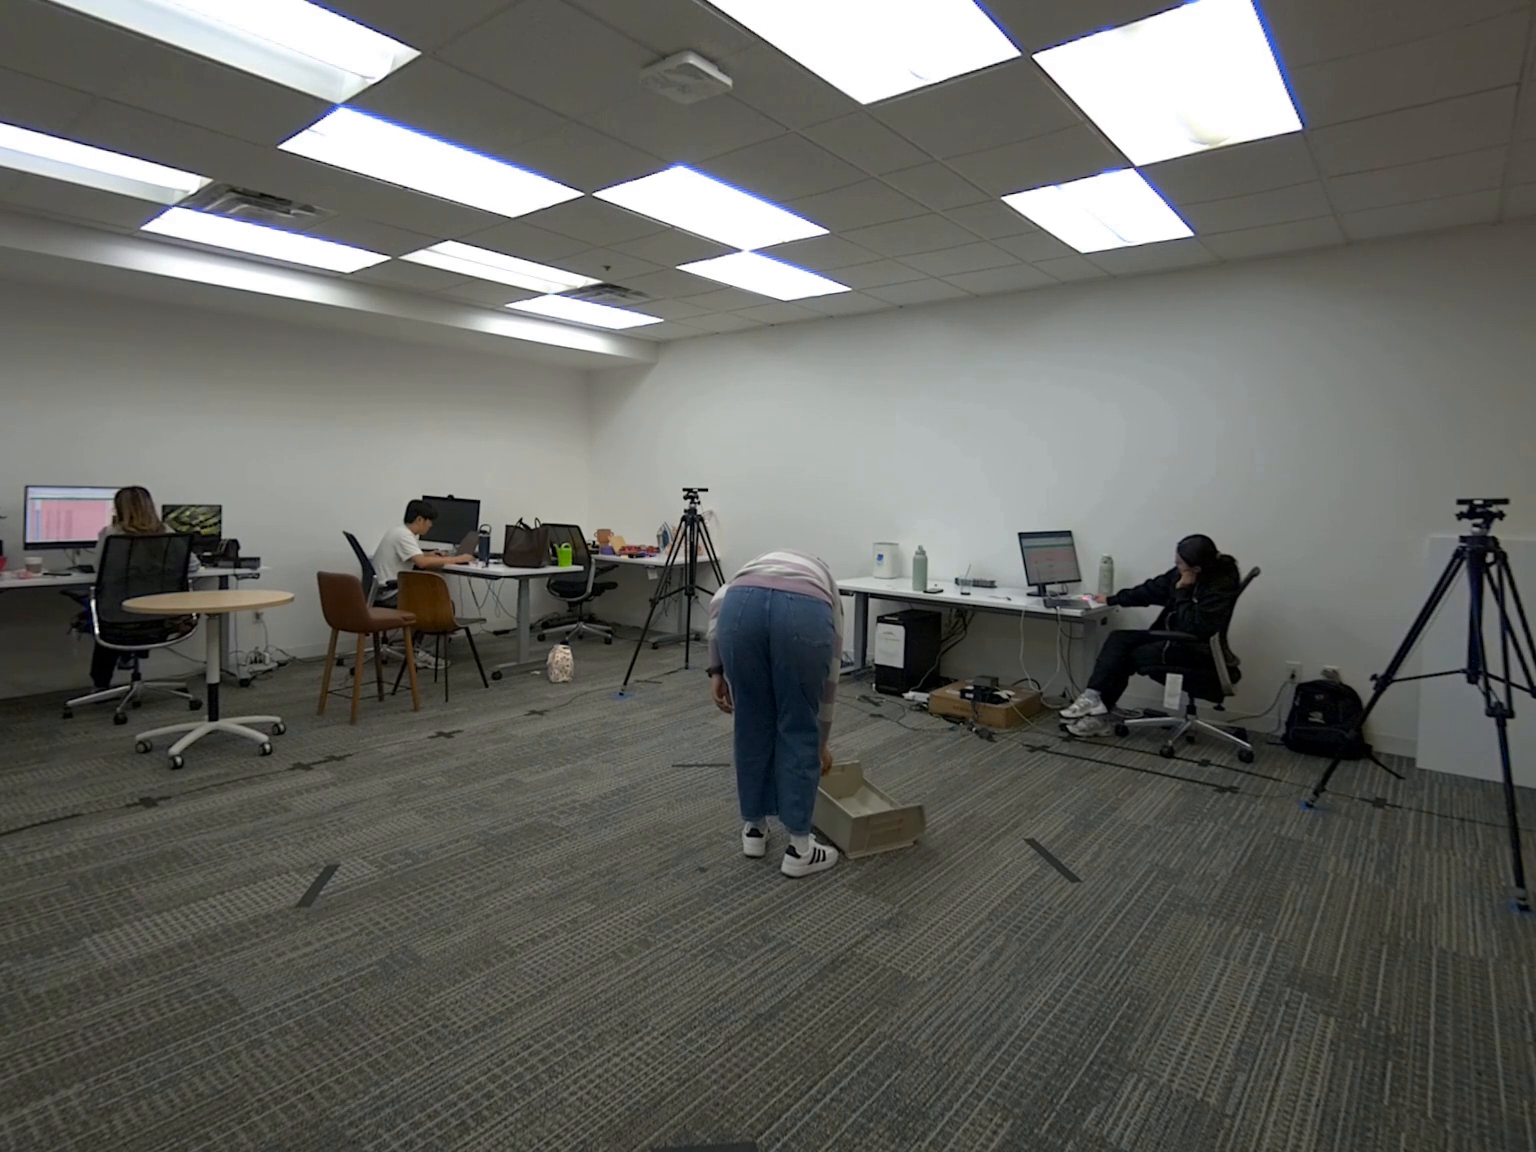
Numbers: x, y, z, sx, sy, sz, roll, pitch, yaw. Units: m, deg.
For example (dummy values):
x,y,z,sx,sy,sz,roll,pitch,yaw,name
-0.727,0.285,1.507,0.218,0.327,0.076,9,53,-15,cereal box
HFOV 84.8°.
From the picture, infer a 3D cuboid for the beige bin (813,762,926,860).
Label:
x,y,z,sx,sy,sz,roll,pitch,yaw,name
0.356,0.926,3.461,0.368,0.187,0.438,-3,15,-29,beige bin
